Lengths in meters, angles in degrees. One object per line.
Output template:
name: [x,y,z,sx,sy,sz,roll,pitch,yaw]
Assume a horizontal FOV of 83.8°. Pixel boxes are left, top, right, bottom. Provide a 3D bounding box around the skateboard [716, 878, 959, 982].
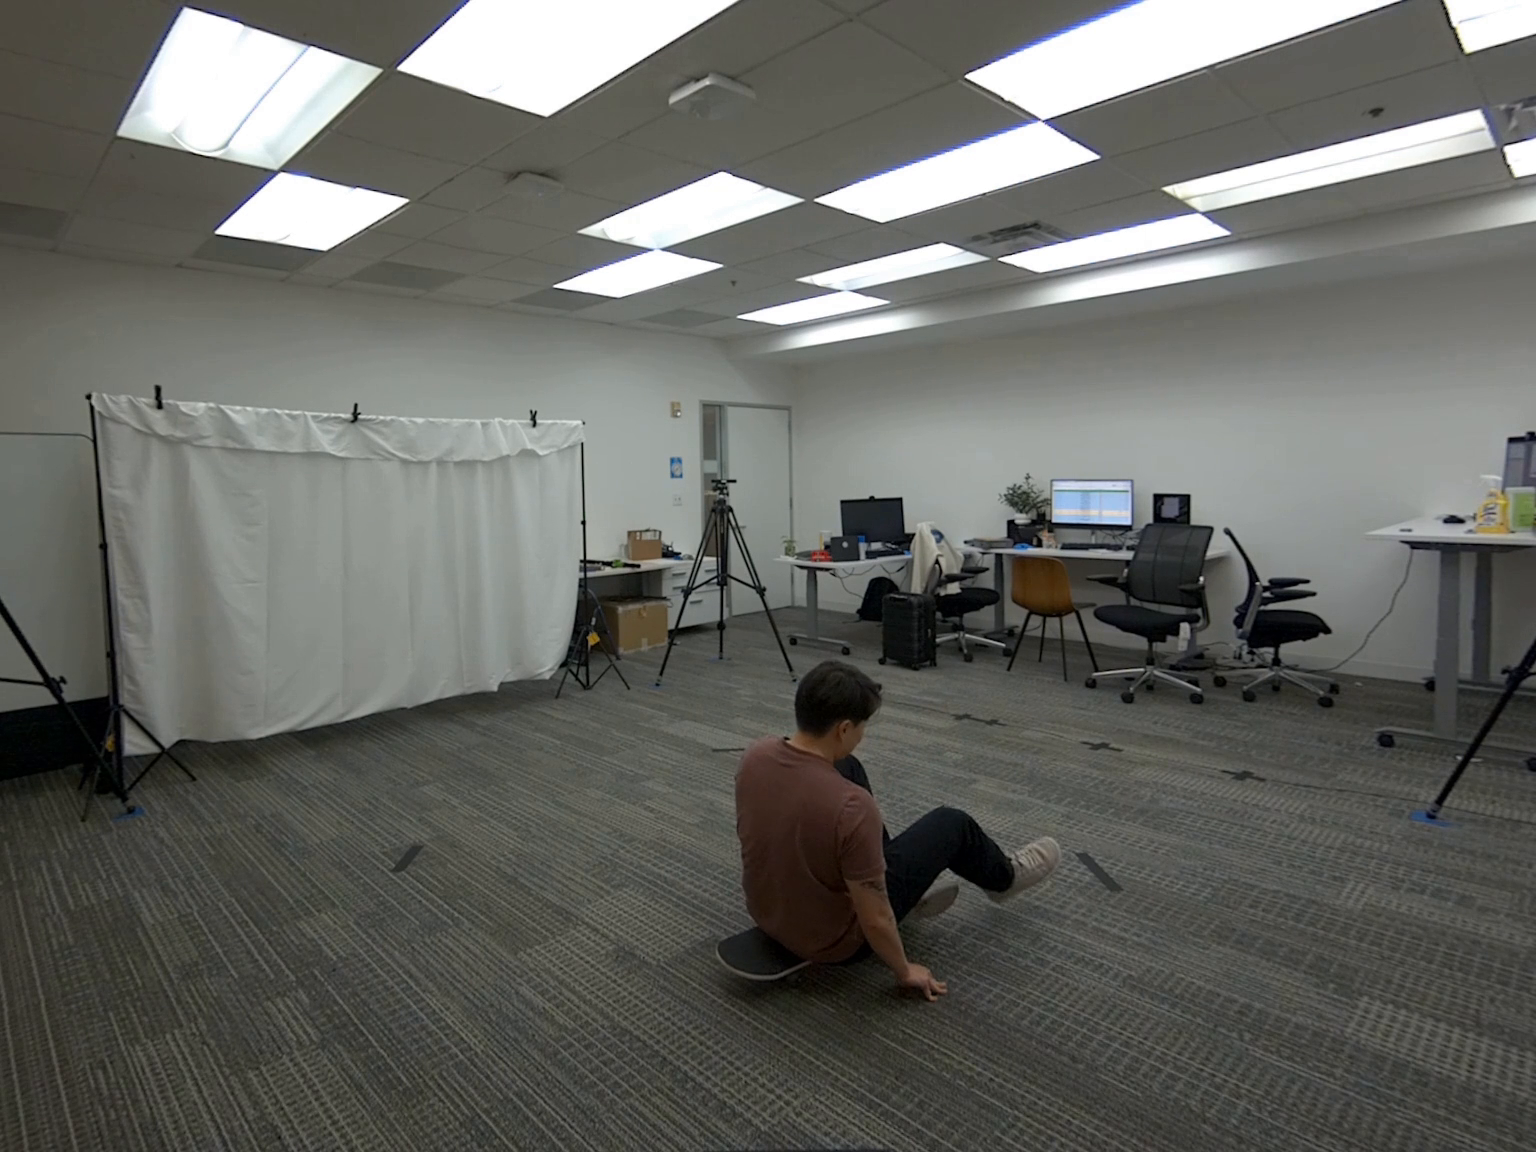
skateboard: [0.208,1.060,2.529,0.766,0.109,0.200,-7,14,-35]
